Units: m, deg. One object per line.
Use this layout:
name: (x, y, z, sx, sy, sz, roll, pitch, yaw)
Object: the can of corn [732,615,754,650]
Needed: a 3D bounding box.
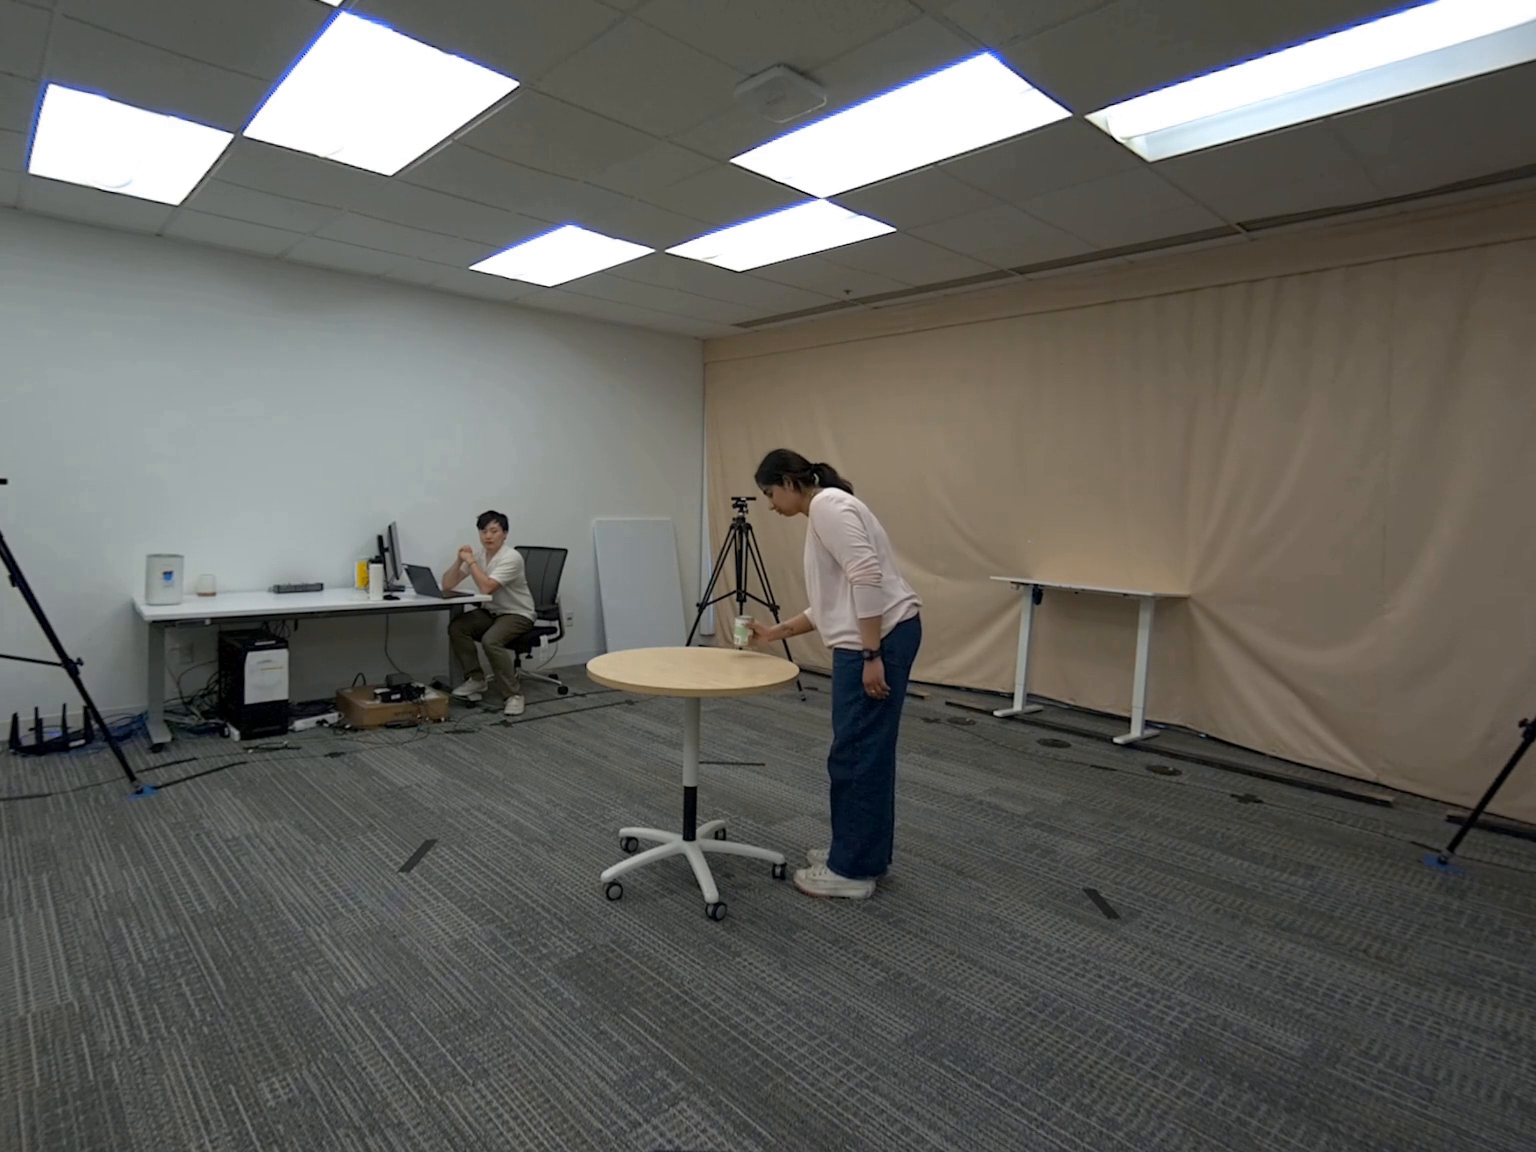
can of corn: (-0.086, 0.219, 3.256, 0.074, 0.111, 0.074, 3, 4, -2)
